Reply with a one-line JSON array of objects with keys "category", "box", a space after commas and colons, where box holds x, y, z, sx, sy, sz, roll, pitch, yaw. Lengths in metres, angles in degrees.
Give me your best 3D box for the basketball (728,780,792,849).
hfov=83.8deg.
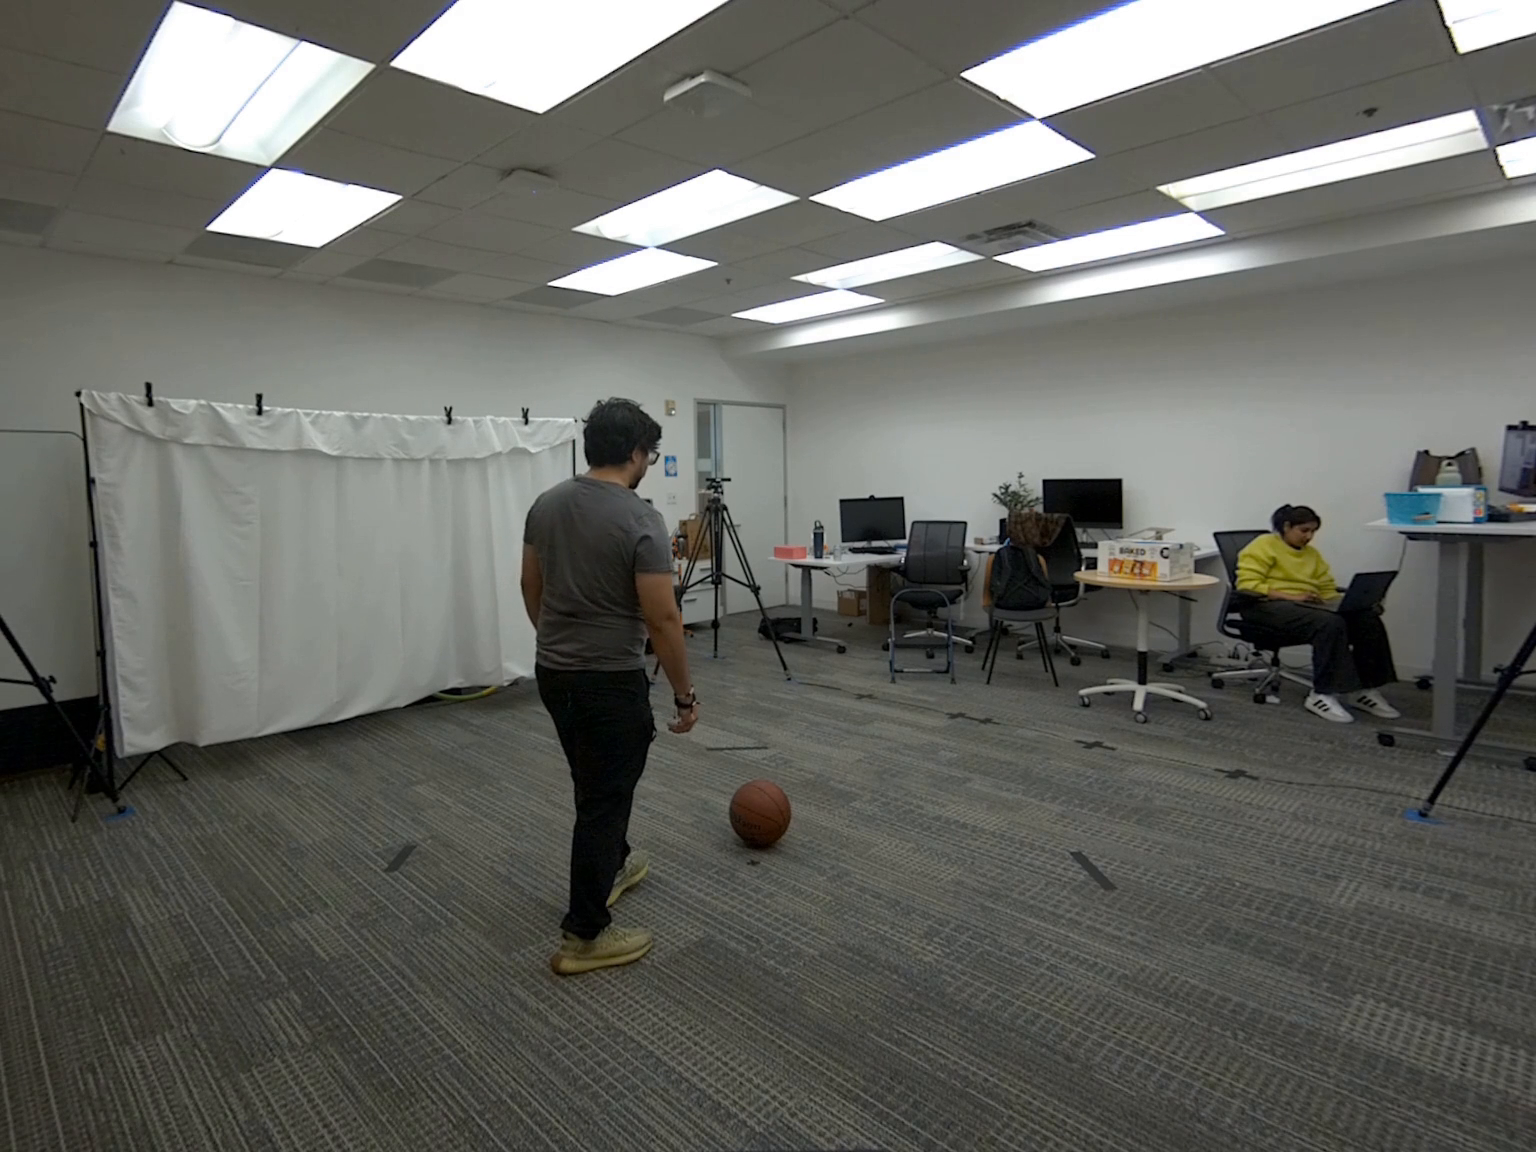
[{"category": "basketball", "box": [-0.030, 0.905, 3.269, 0.236, 0.235, 0.237, -1, 5, -2]}]
